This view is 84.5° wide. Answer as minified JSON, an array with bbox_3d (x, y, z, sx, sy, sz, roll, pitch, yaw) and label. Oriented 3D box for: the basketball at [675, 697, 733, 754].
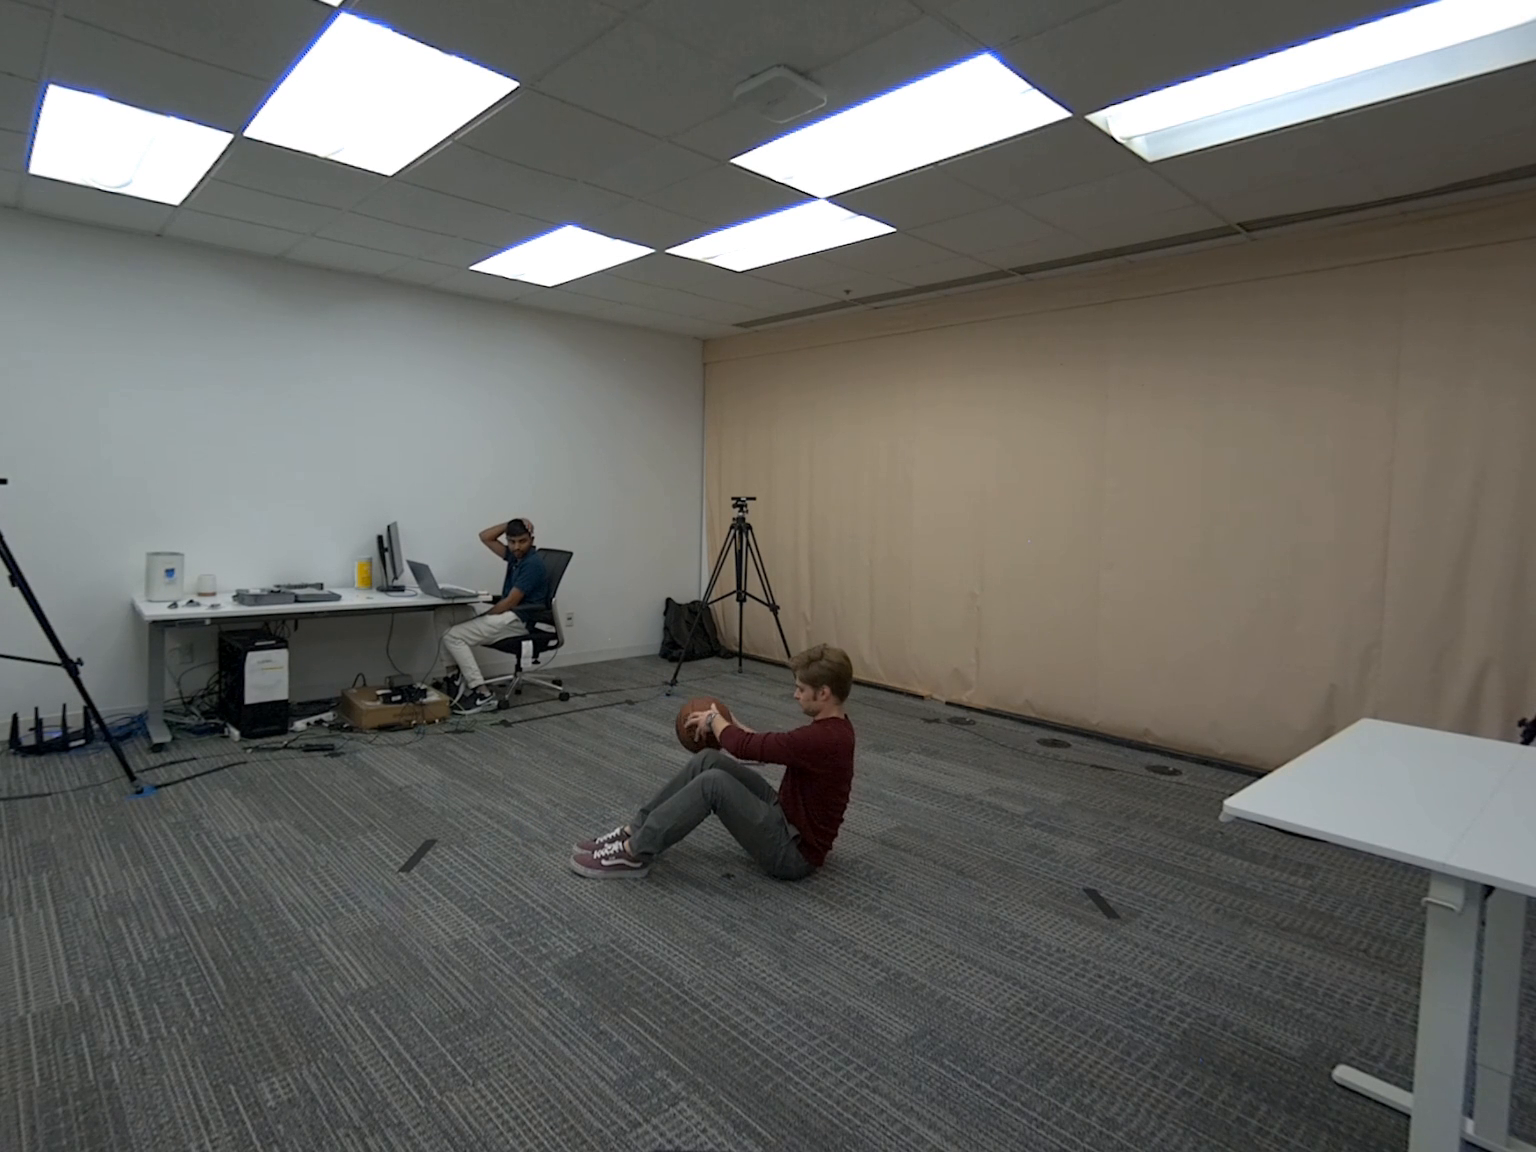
[{"bbox_3d":[-0.270,0.619,3.478,0.236,0.235,0.237,1,4,-1],"label":"basketball"}]
